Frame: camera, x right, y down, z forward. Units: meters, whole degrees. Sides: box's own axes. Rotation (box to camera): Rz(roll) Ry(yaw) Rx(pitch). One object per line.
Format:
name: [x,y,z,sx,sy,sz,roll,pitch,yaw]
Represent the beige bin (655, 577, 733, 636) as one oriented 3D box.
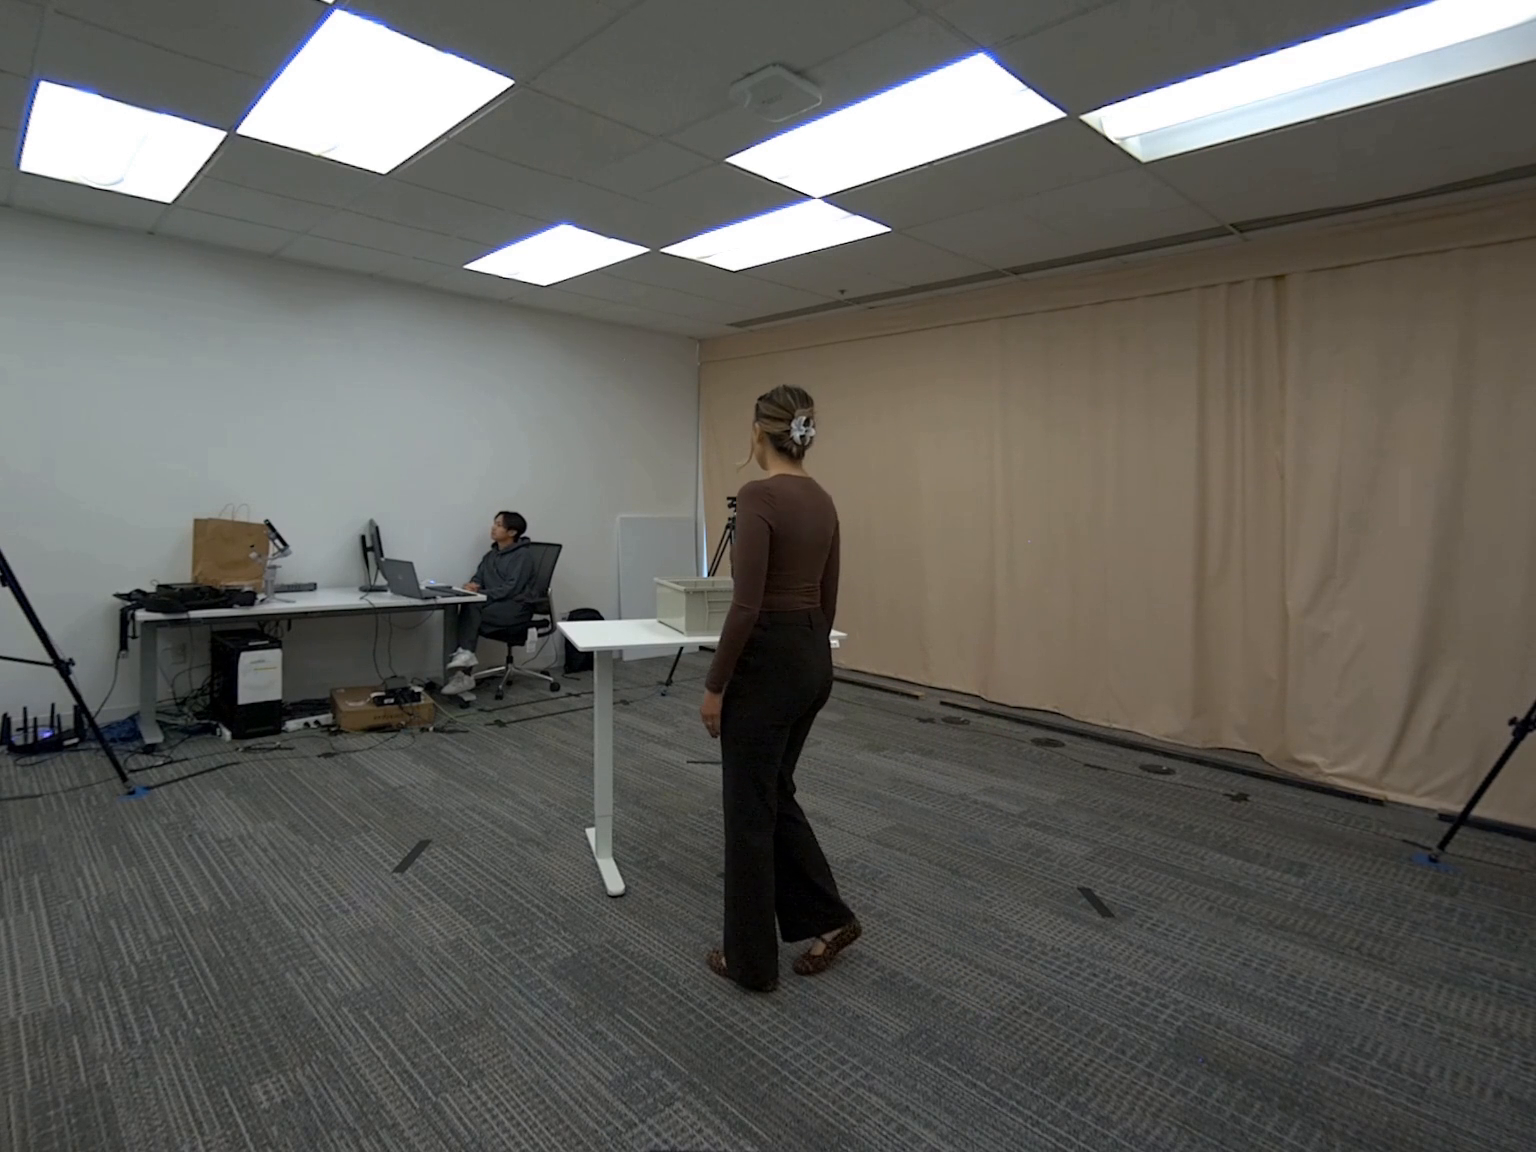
beige bin: [-0.222,0.113,3.314,0.371,0.188,0.430,-2,6,-23]
